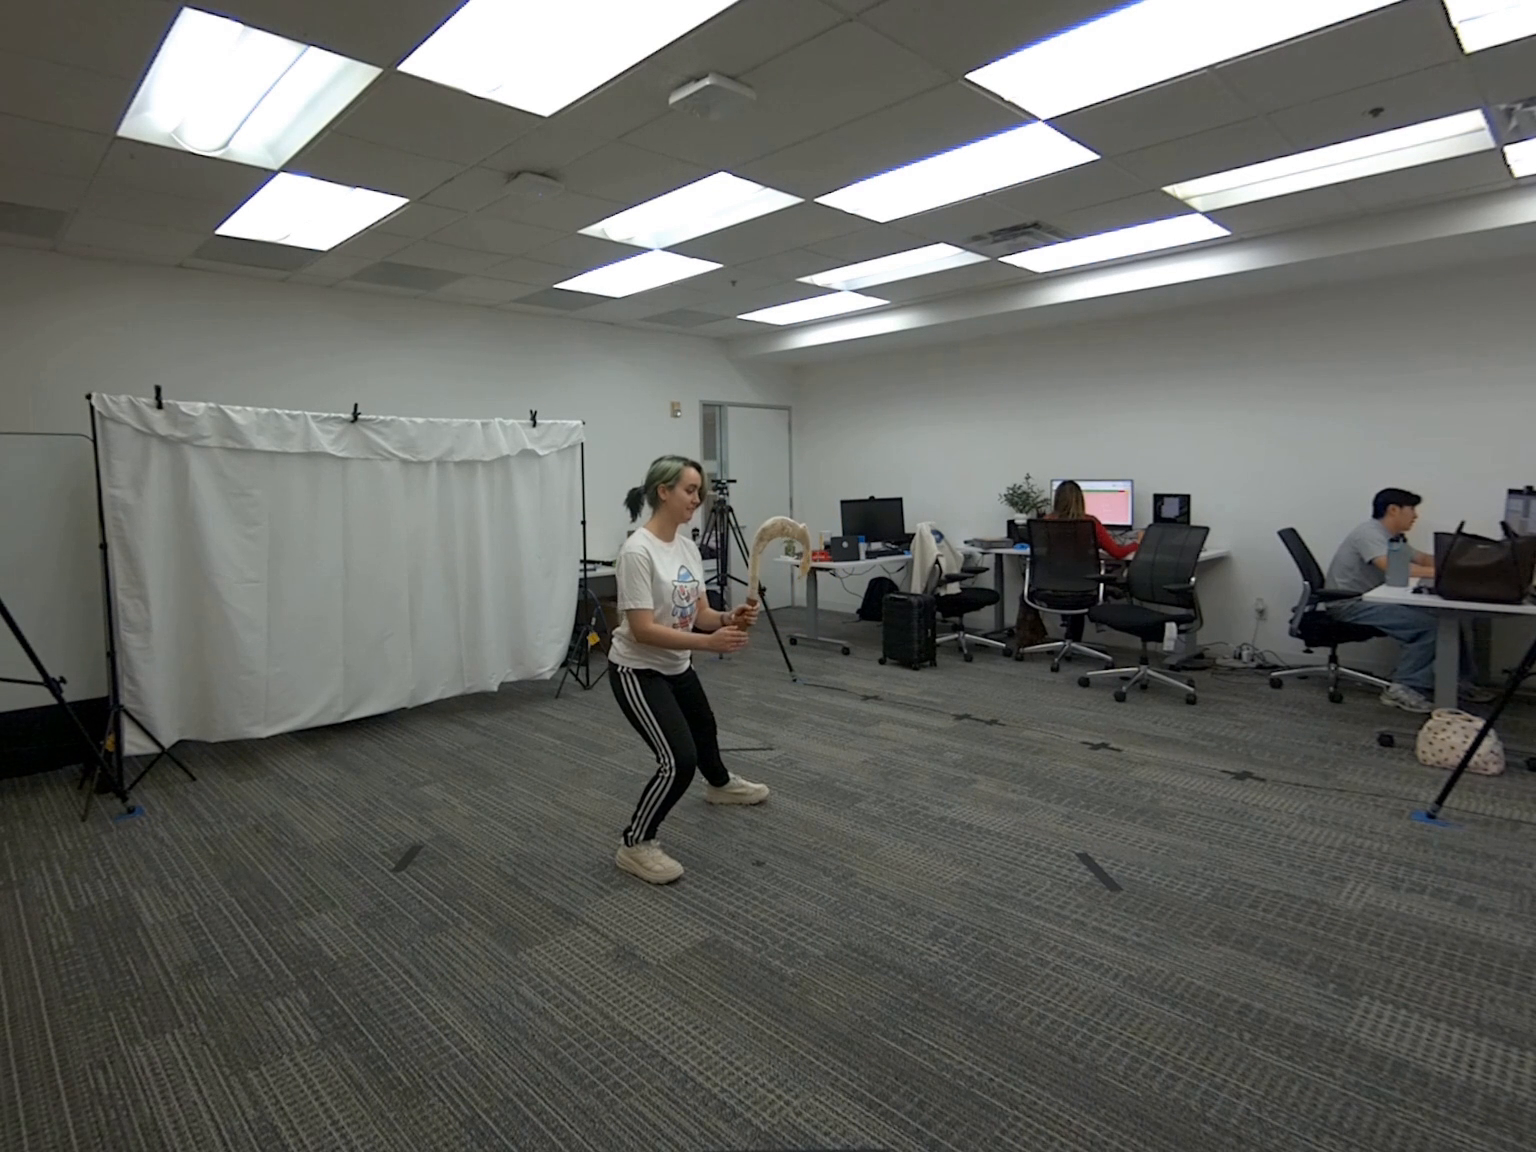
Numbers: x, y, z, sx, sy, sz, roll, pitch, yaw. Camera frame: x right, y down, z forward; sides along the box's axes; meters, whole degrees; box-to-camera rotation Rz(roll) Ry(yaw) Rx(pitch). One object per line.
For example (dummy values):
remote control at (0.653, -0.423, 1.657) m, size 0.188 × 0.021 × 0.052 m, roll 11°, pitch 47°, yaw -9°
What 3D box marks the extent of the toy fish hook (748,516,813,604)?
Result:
toy fish hook at (0.001, 0.037, 3.018) m, size 0.224 × 0.506 × 0.048 m, roll 20°, pitch 3°, yaw -2°
